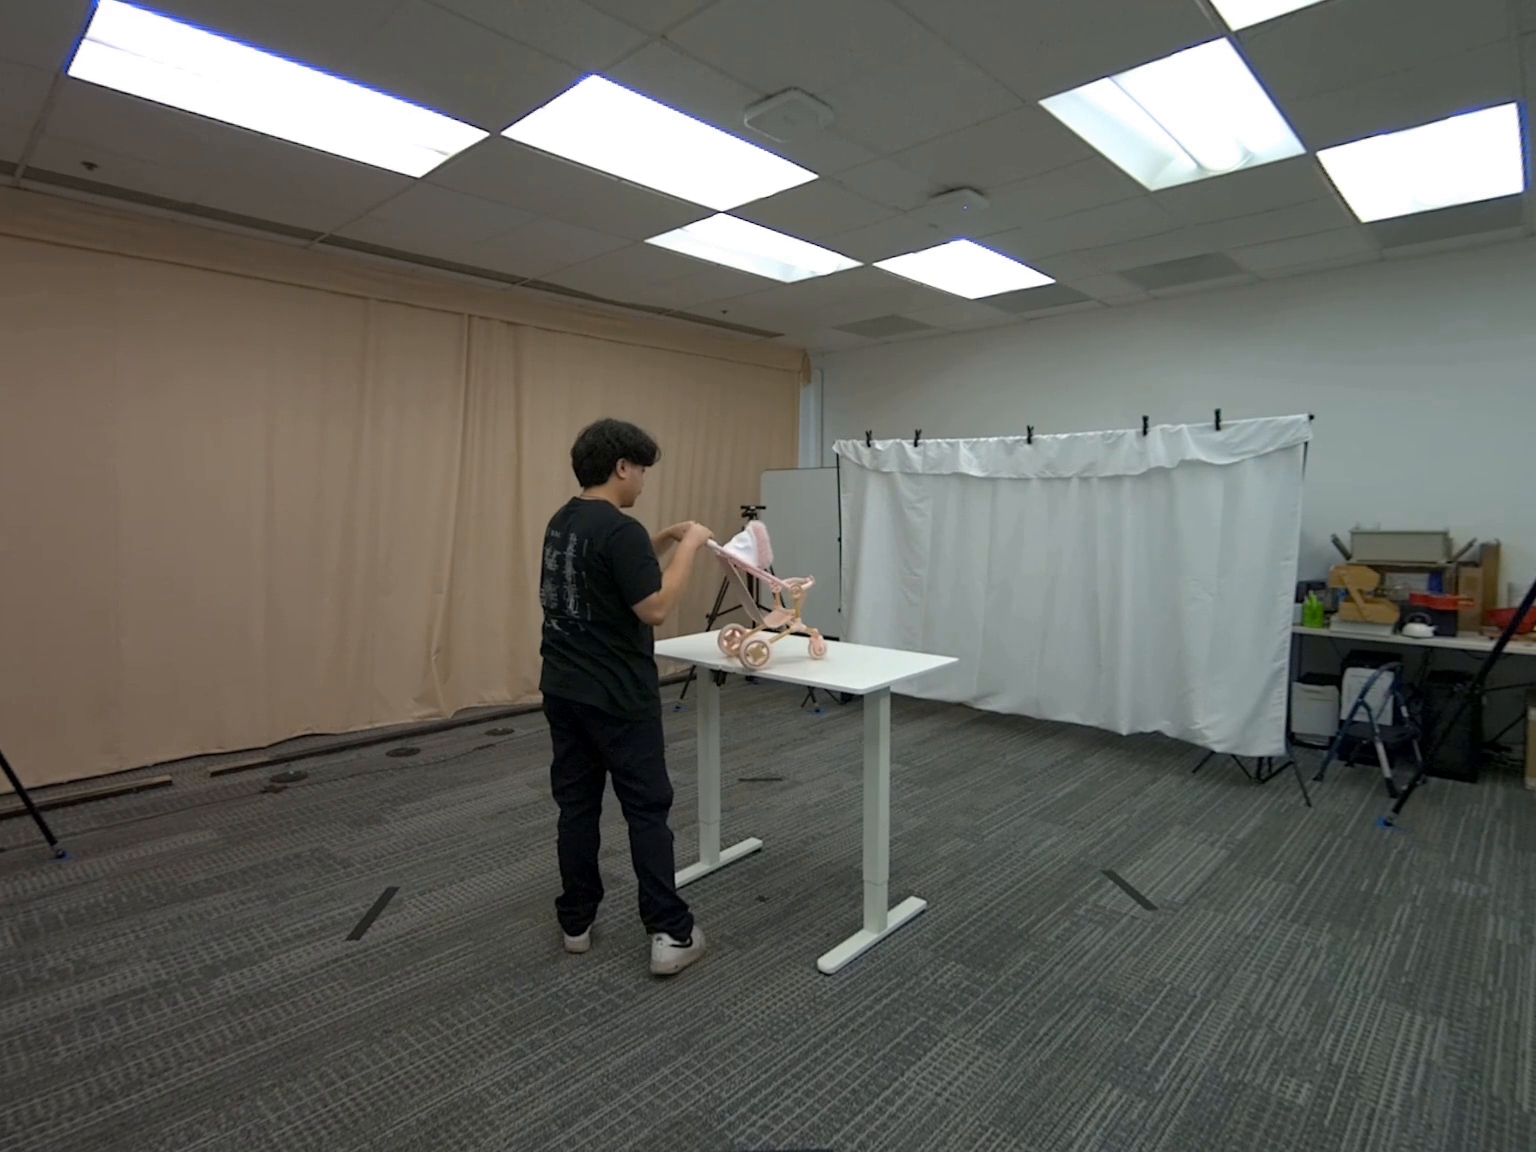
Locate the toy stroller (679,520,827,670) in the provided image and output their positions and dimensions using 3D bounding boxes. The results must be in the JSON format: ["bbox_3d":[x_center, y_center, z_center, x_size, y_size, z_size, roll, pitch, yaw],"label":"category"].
[{"bbox_3d":[-0.005,0.060,2.737,0.338,0.532,0.285,-17,7,-10],"label":"toy stroller"}]
